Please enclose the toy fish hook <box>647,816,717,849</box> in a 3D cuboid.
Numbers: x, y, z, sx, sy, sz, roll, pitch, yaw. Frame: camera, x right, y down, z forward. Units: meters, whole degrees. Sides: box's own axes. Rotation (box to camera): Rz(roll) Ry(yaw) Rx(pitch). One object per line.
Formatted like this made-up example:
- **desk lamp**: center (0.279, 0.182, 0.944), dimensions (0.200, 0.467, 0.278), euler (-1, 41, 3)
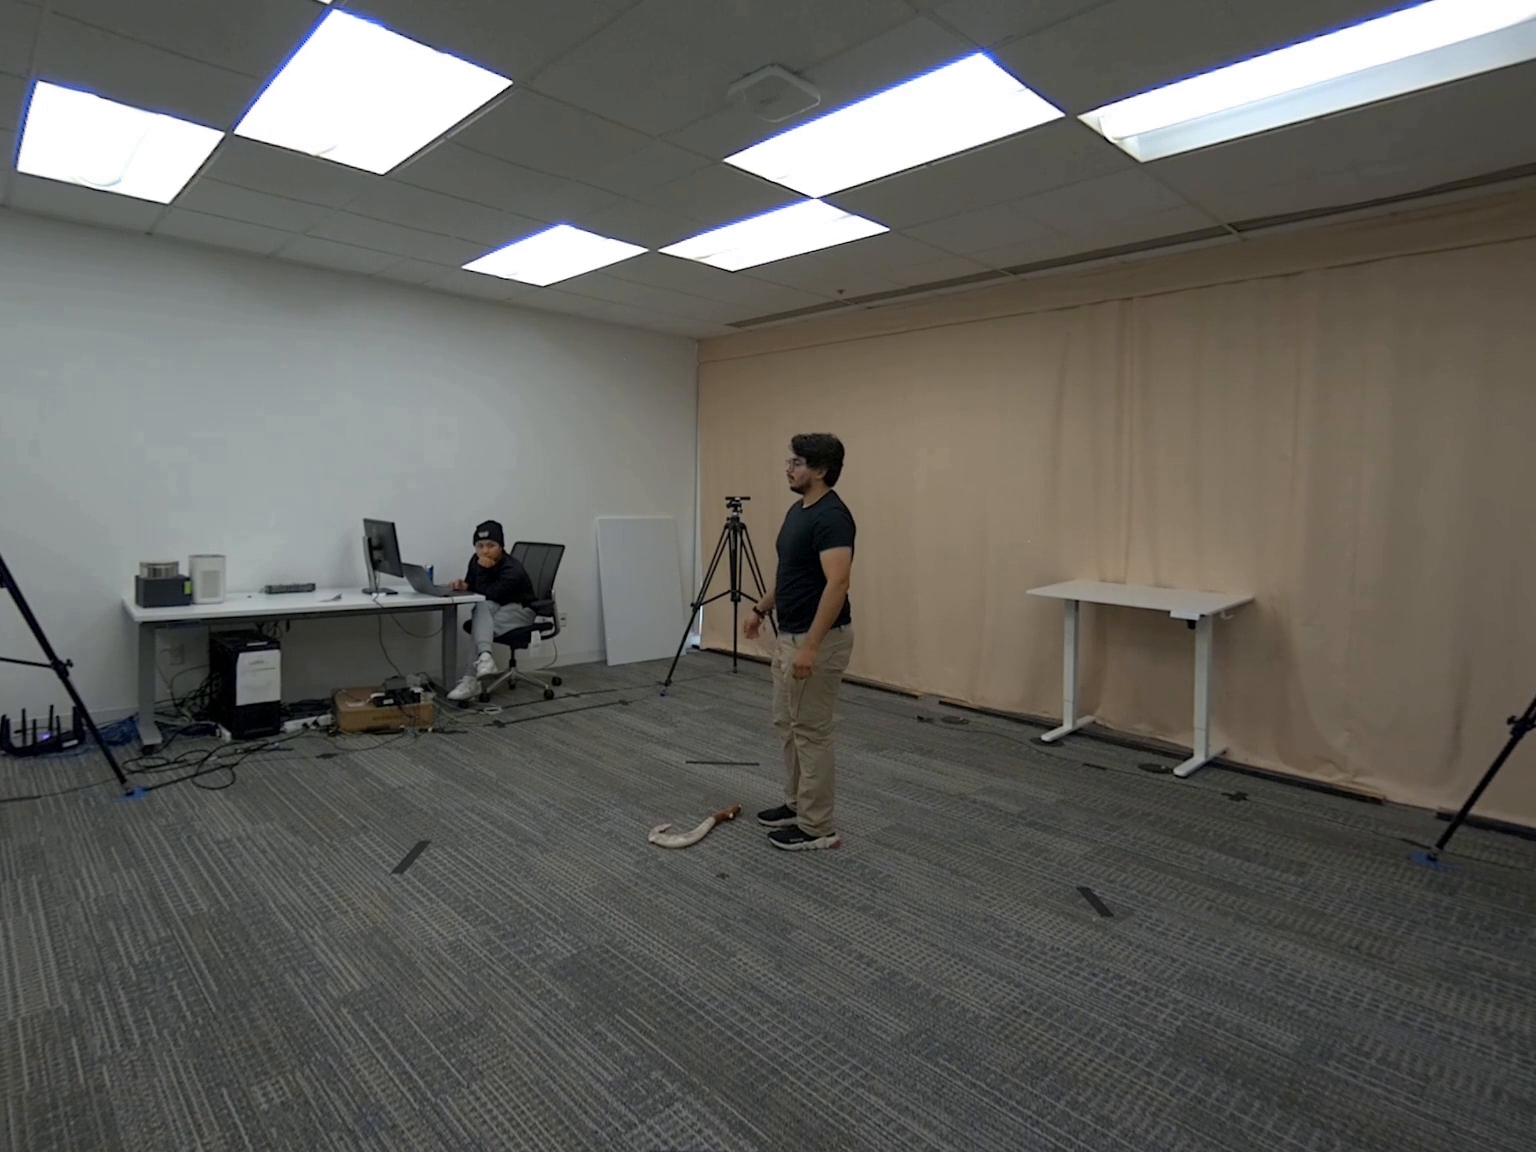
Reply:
- **toy fish hook**: center (-0.314, 1.043, 3.557), dimensions (0.230, 0.048, 0.496), euler (6, 6, 32)
